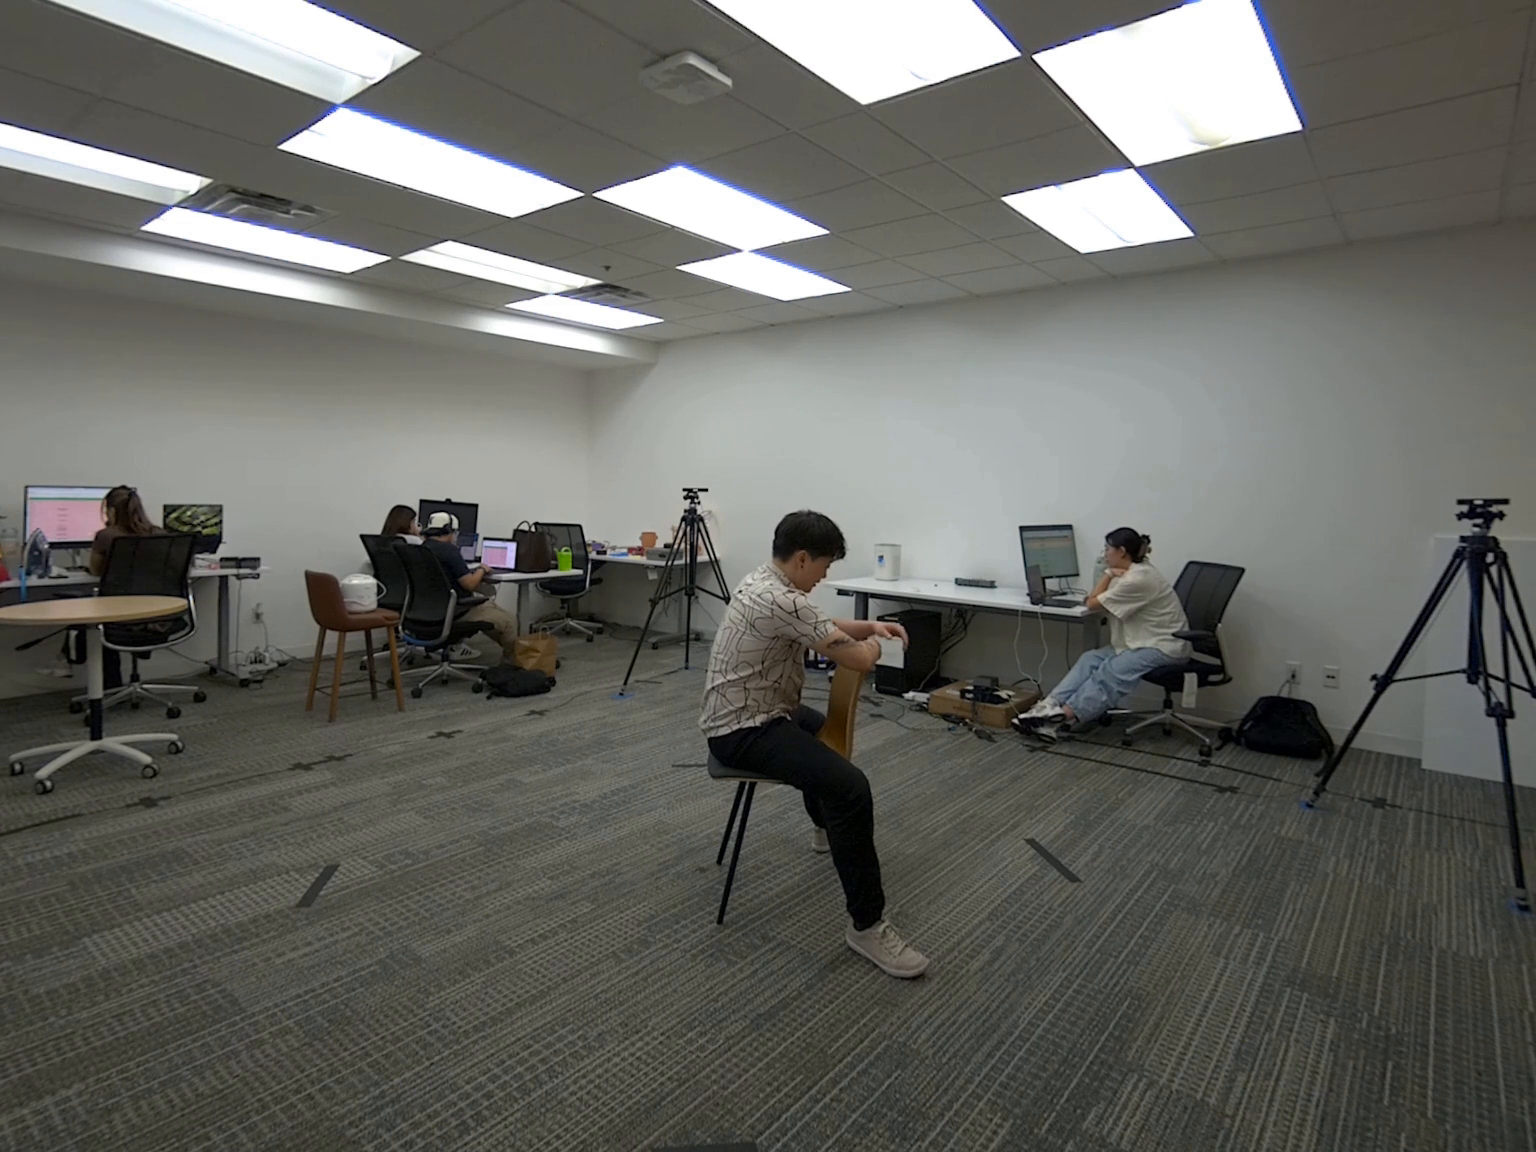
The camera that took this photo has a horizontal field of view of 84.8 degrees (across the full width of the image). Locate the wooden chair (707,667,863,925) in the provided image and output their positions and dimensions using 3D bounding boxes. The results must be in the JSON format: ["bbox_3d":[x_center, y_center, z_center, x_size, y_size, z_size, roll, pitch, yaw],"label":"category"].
[{"bbox_3d":[0.044,0.678,2.913,0.522,0.875,0.480,6,3,-2],"label":"wooden chair"}]
